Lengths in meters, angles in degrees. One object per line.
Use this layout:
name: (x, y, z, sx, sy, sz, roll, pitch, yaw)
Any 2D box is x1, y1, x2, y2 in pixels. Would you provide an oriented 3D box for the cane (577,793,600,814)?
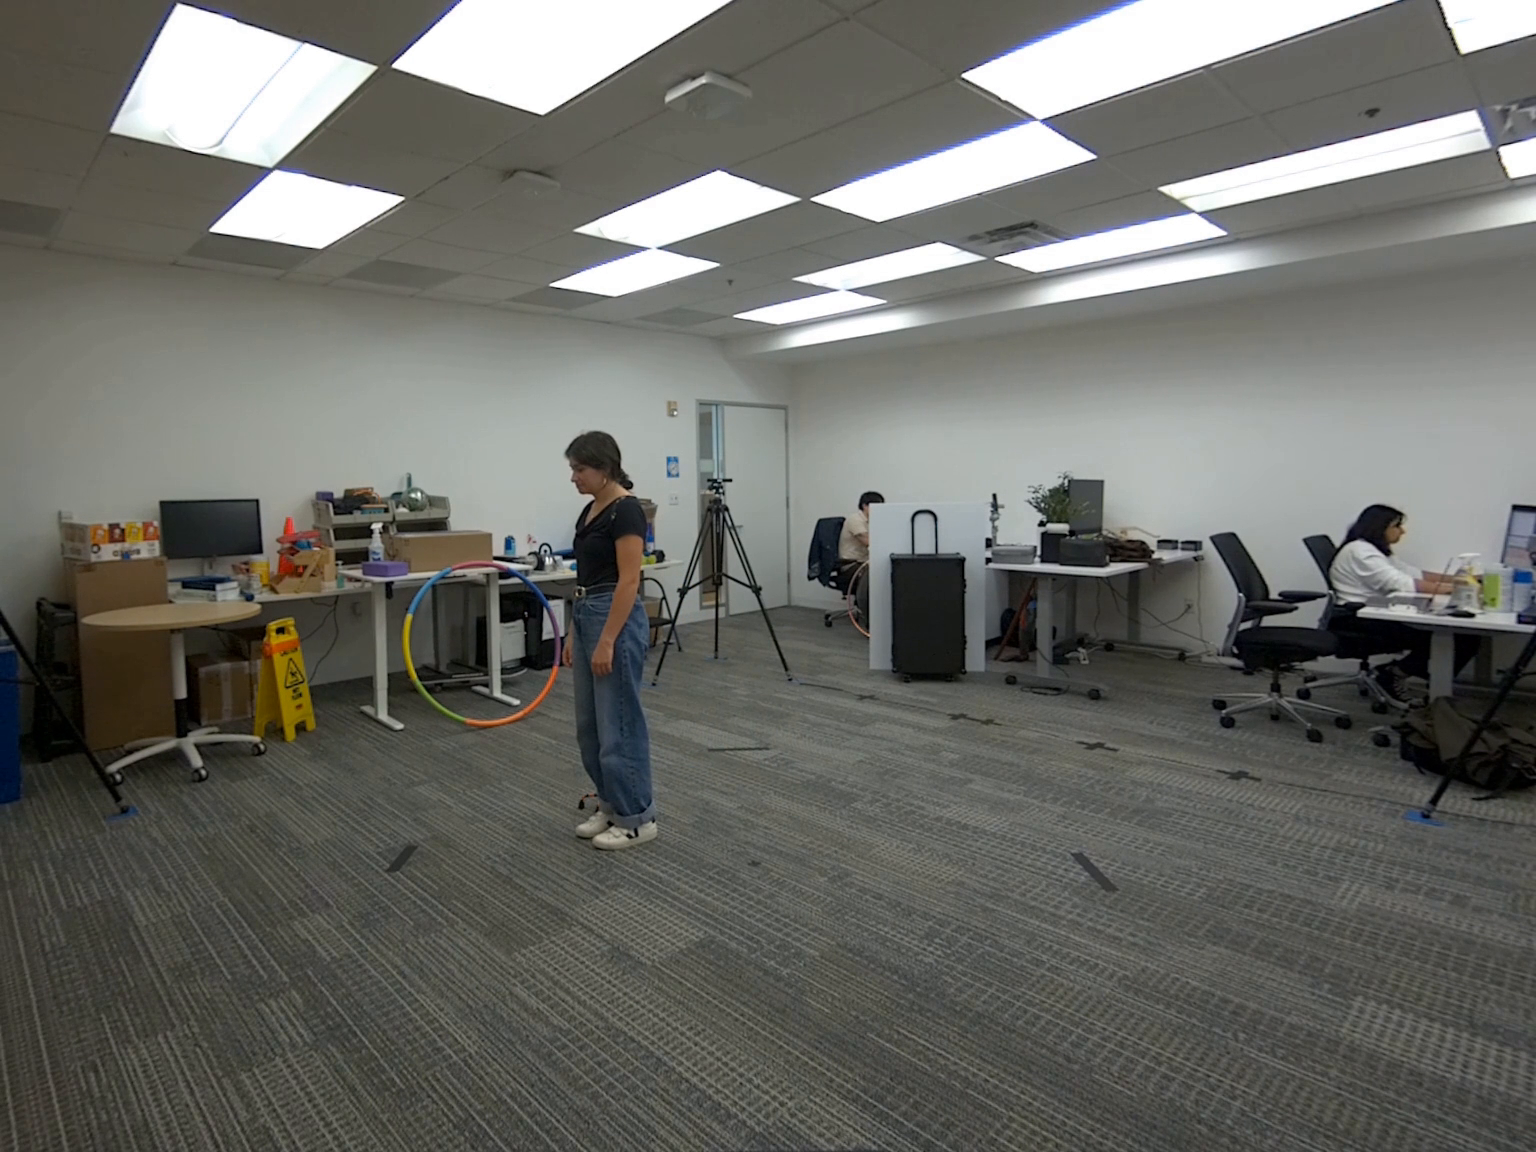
cane: (-0.699, 0.544, 3.674, 0.156, 0.905, 0.201, 2, 4, 43)
